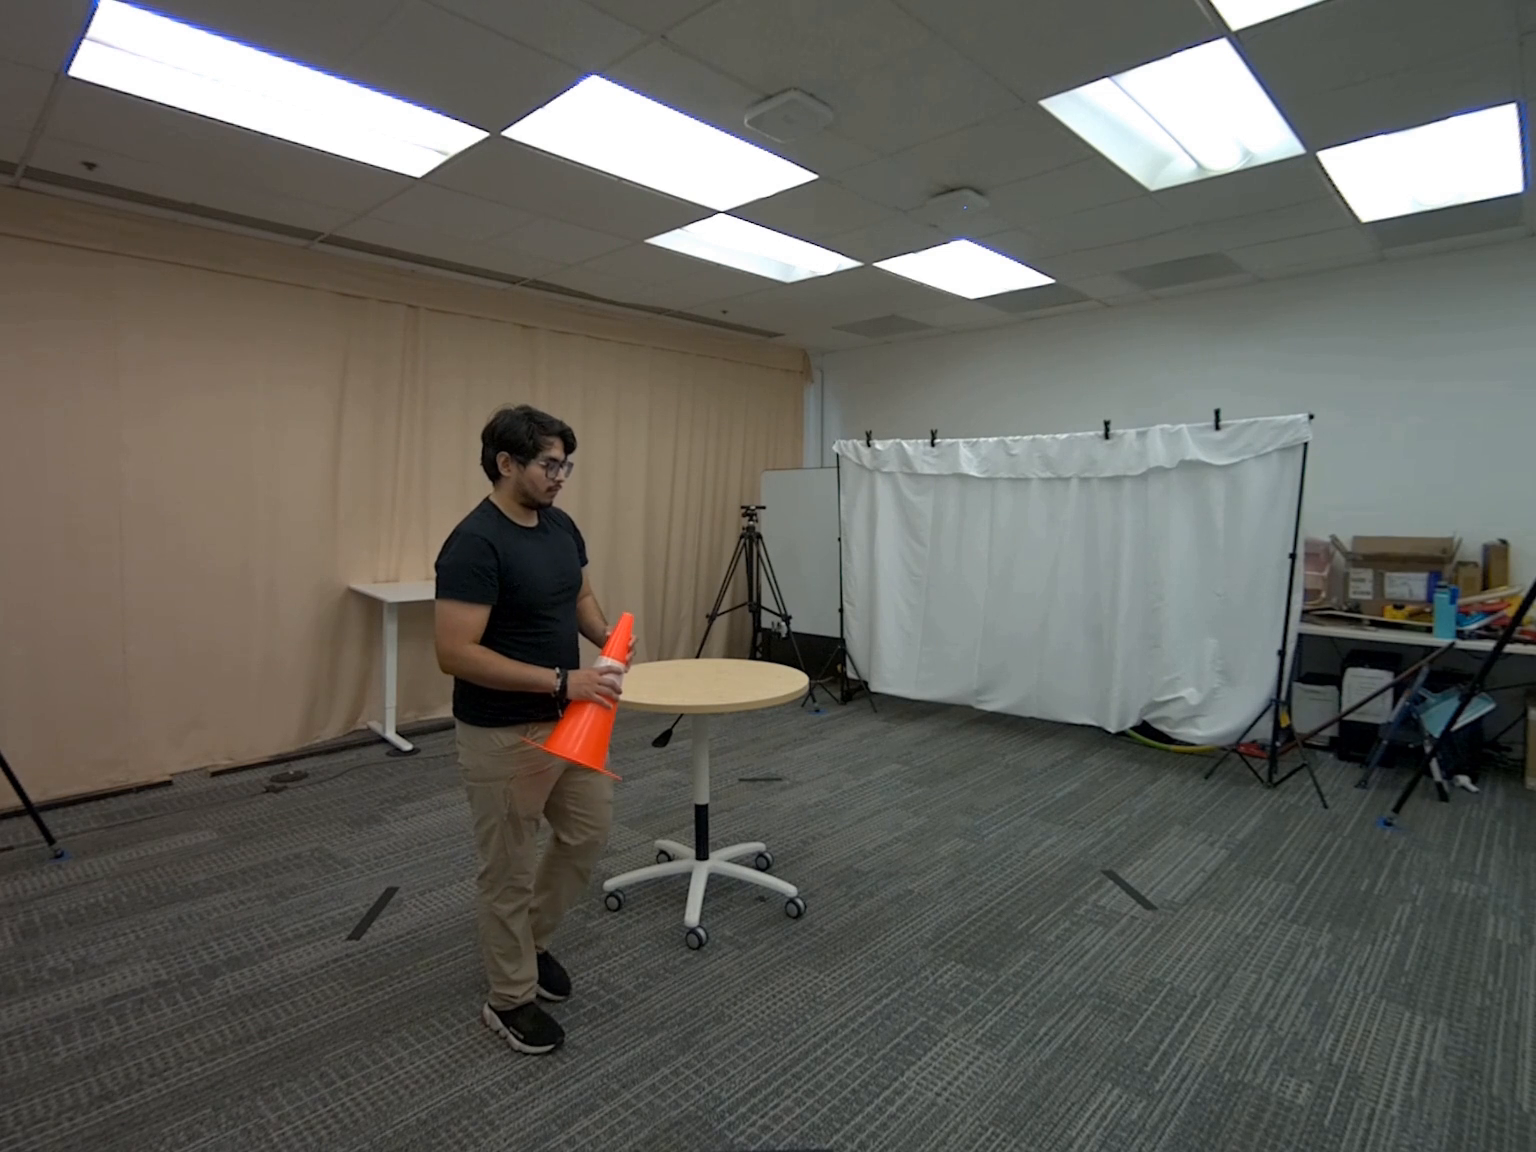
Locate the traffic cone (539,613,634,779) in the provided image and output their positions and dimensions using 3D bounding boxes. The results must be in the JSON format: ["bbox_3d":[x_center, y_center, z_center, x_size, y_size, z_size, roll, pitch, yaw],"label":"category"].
[{"bbox_3d":[-0.409,0.280,2.065,0.209,0.385,0.198,15,-16,17],"label":"traffic cone"}]
